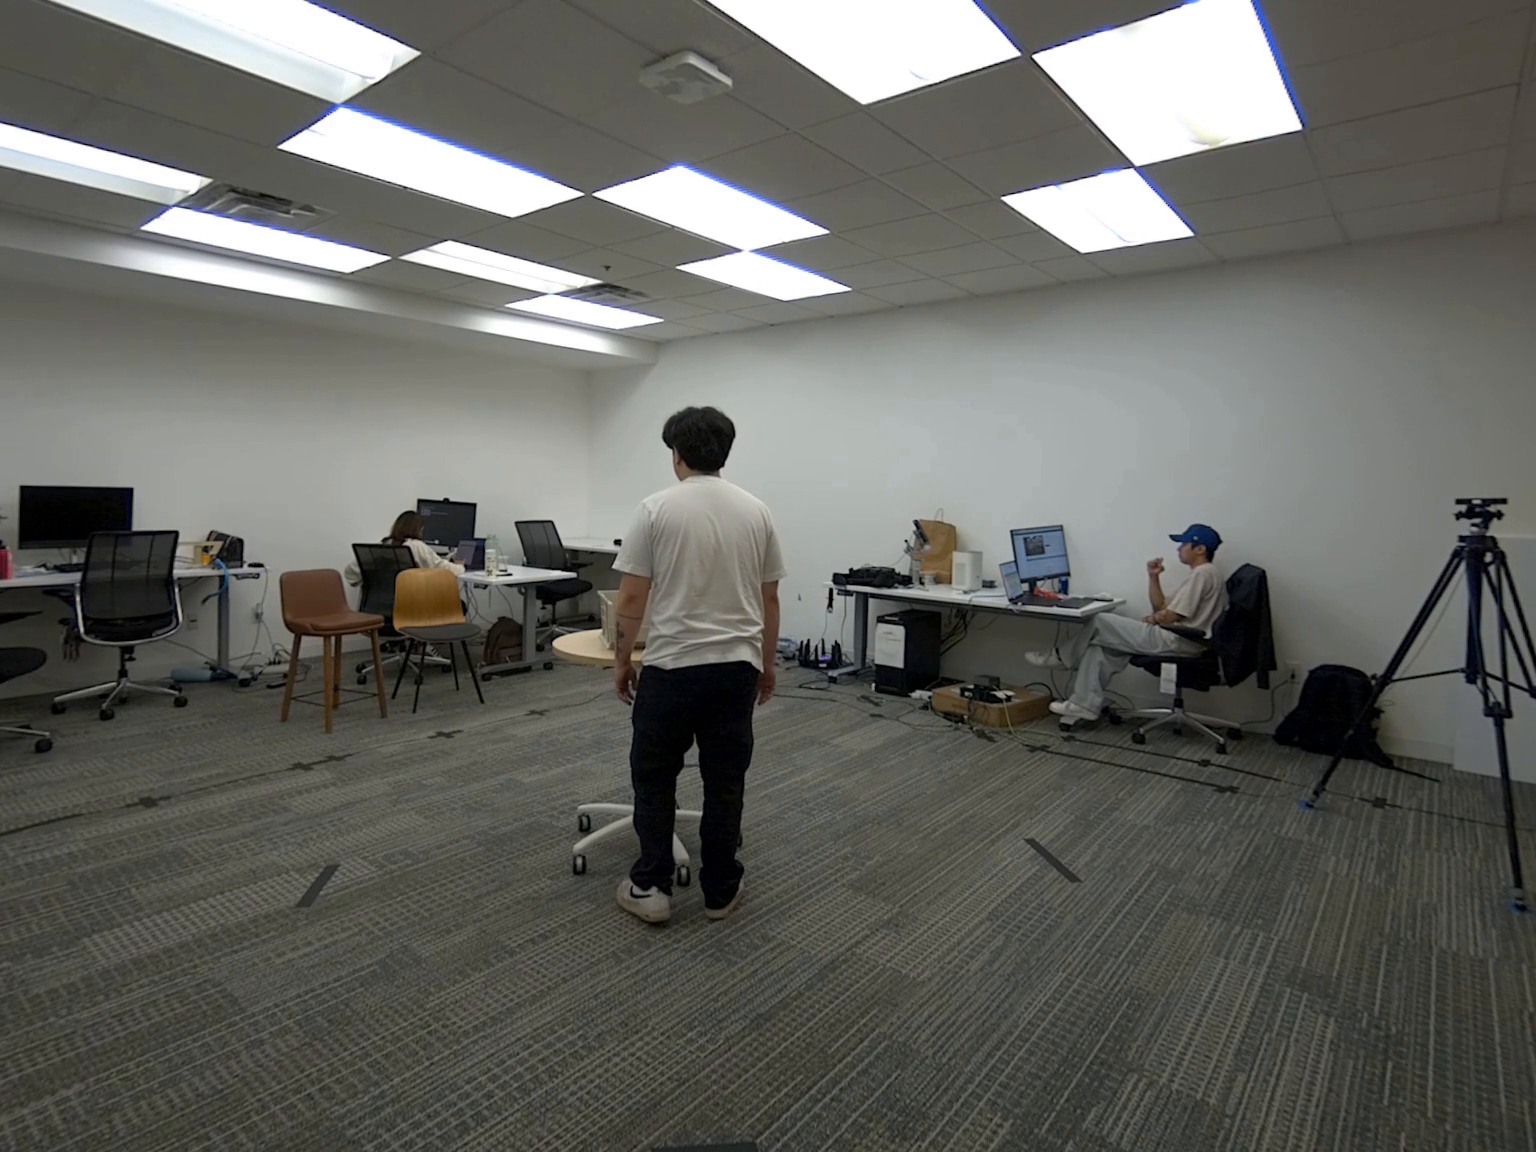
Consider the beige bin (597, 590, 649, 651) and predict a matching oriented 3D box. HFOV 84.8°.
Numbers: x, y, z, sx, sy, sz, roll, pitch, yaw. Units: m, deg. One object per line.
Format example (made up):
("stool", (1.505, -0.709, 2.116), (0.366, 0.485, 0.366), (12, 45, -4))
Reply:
("beige bin", (-0.437, 0.164, 3.263), (0.416, 0.188, 0.384), (-1, 3, -16))
